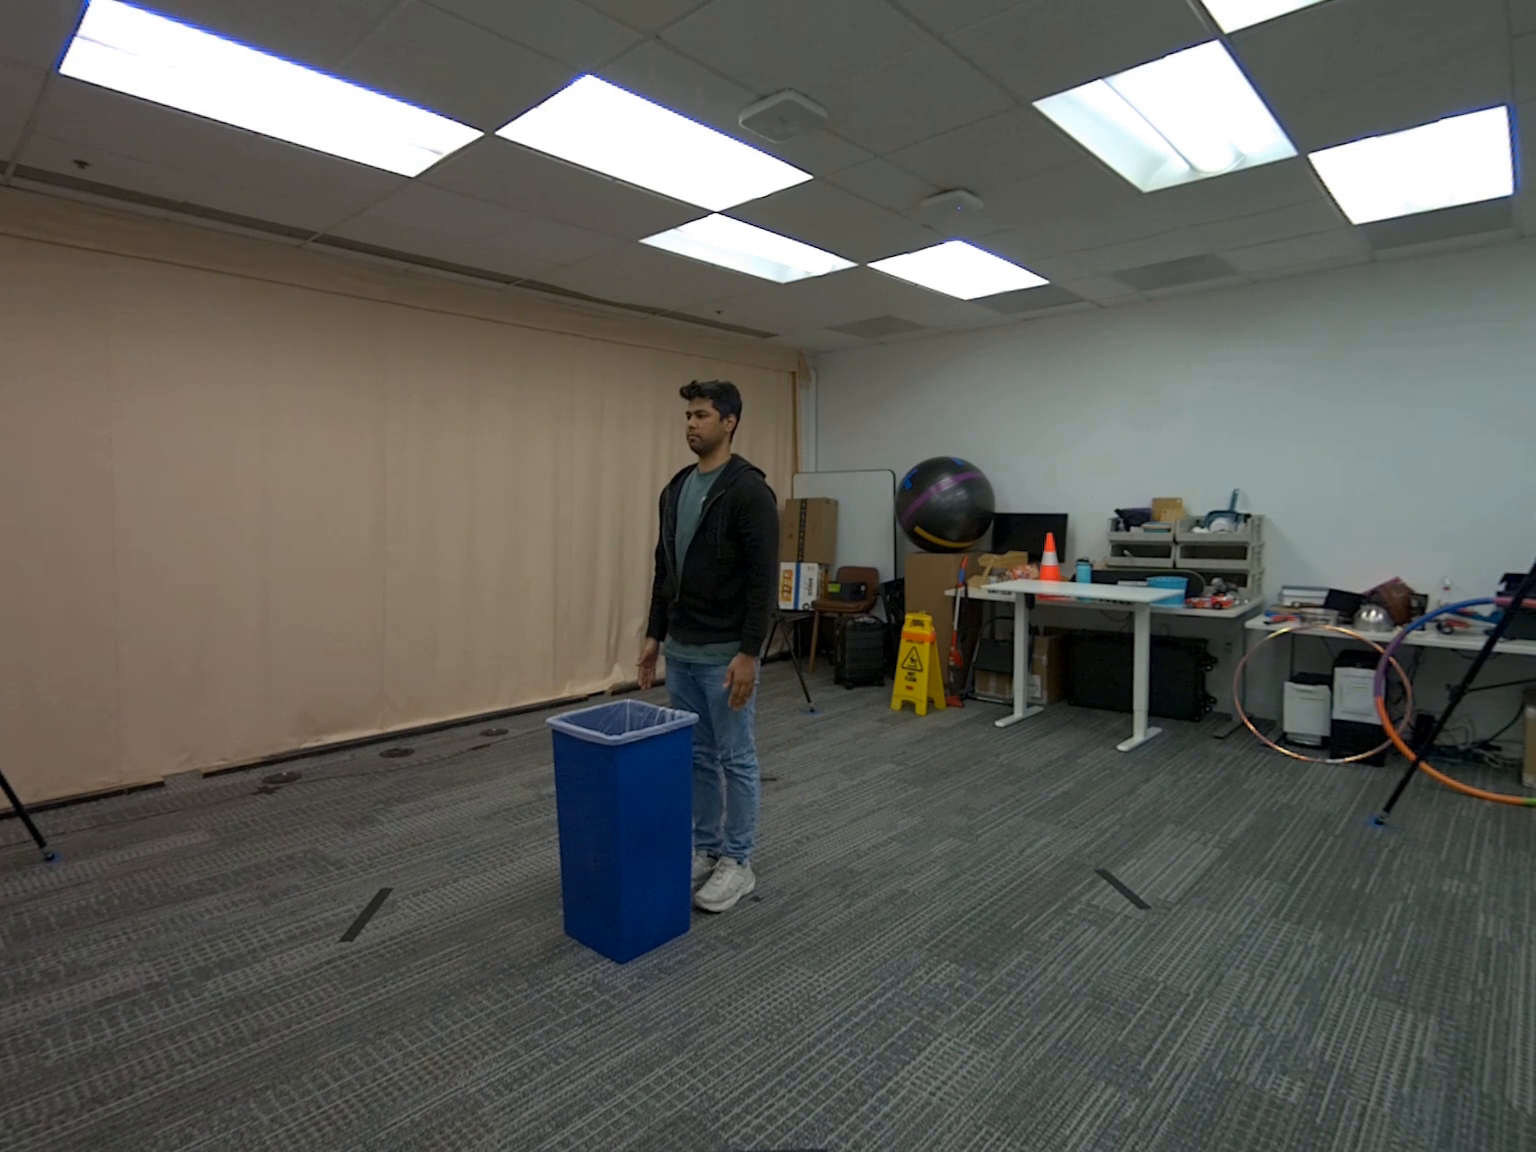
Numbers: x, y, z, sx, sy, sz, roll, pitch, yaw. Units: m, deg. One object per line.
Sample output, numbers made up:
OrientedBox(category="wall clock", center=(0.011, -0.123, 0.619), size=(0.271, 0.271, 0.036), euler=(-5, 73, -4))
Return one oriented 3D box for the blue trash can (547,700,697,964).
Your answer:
OrientedBox(category="blue trash can", center=(-0.470, 0.810, 2.739), size=(0.390, 0.712, 0.362), euler=(2, 3, 42))
